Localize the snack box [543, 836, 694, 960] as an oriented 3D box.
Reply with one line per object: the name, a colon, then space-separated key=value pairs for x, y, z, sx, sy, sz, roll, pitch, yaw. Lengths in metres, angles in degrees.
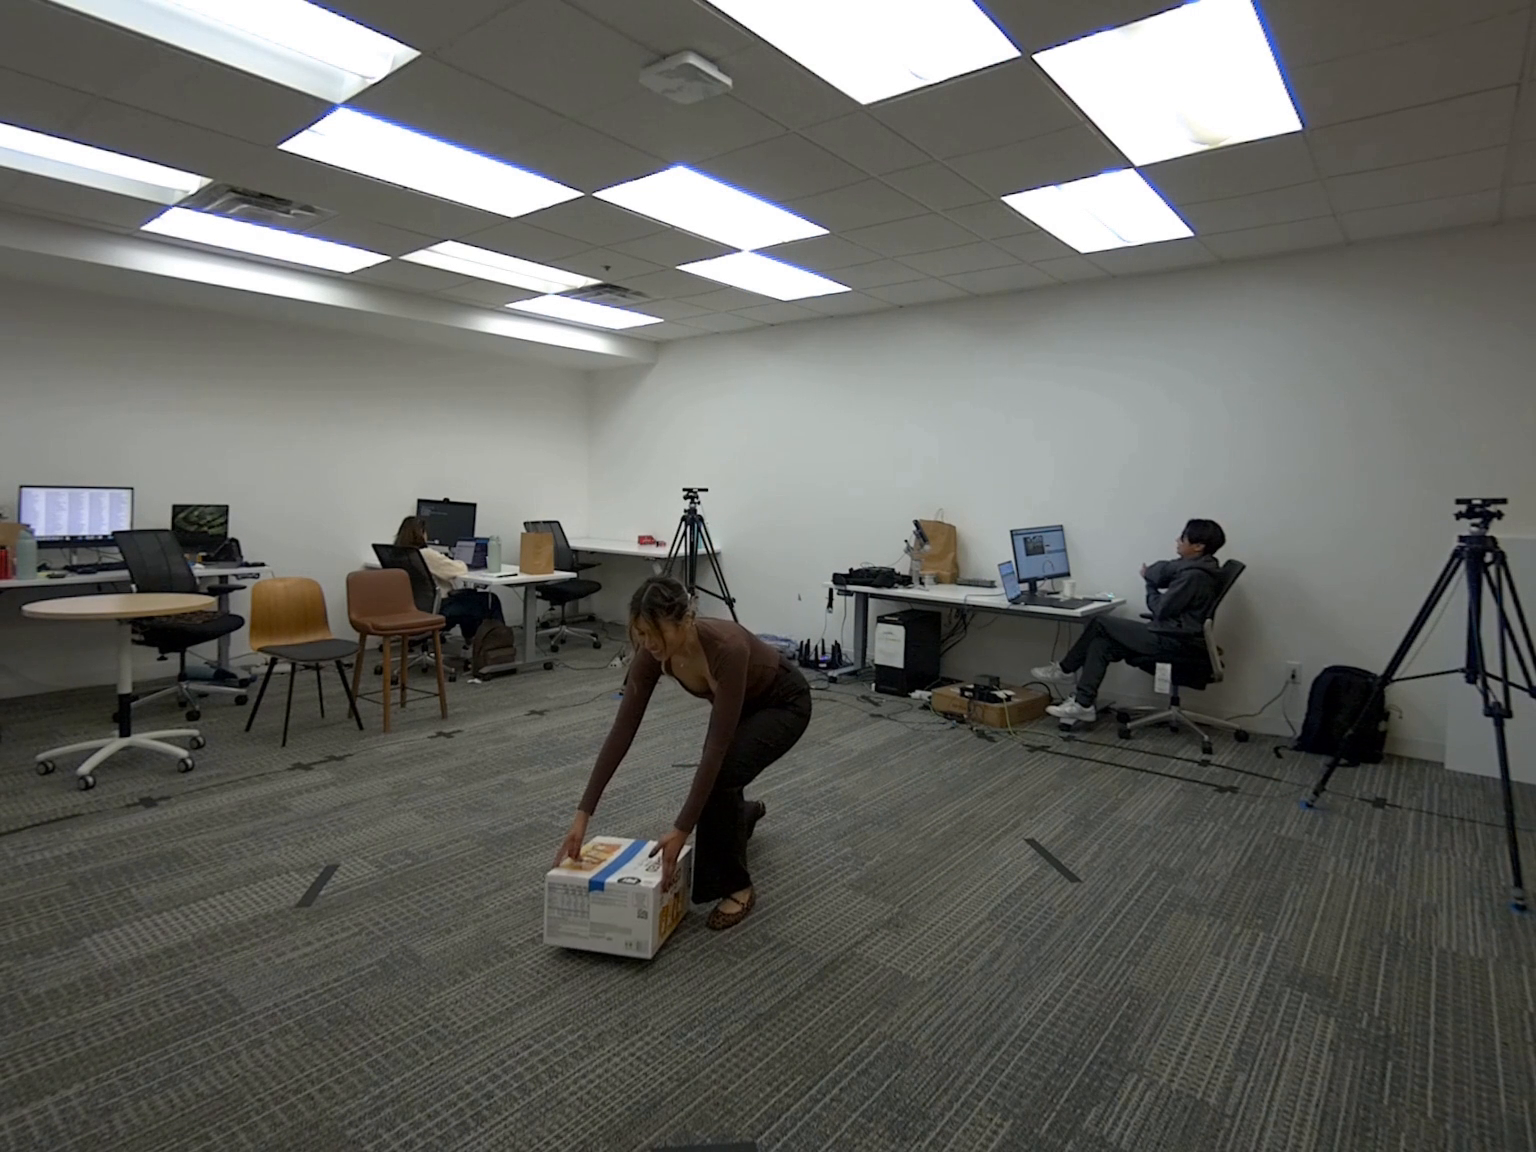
snack box: x=-0.466 y=0.987 z=2.657 sx=0.345 sy=0.206 sz=0.398 roll=1 pitch=-1 yaw=13
